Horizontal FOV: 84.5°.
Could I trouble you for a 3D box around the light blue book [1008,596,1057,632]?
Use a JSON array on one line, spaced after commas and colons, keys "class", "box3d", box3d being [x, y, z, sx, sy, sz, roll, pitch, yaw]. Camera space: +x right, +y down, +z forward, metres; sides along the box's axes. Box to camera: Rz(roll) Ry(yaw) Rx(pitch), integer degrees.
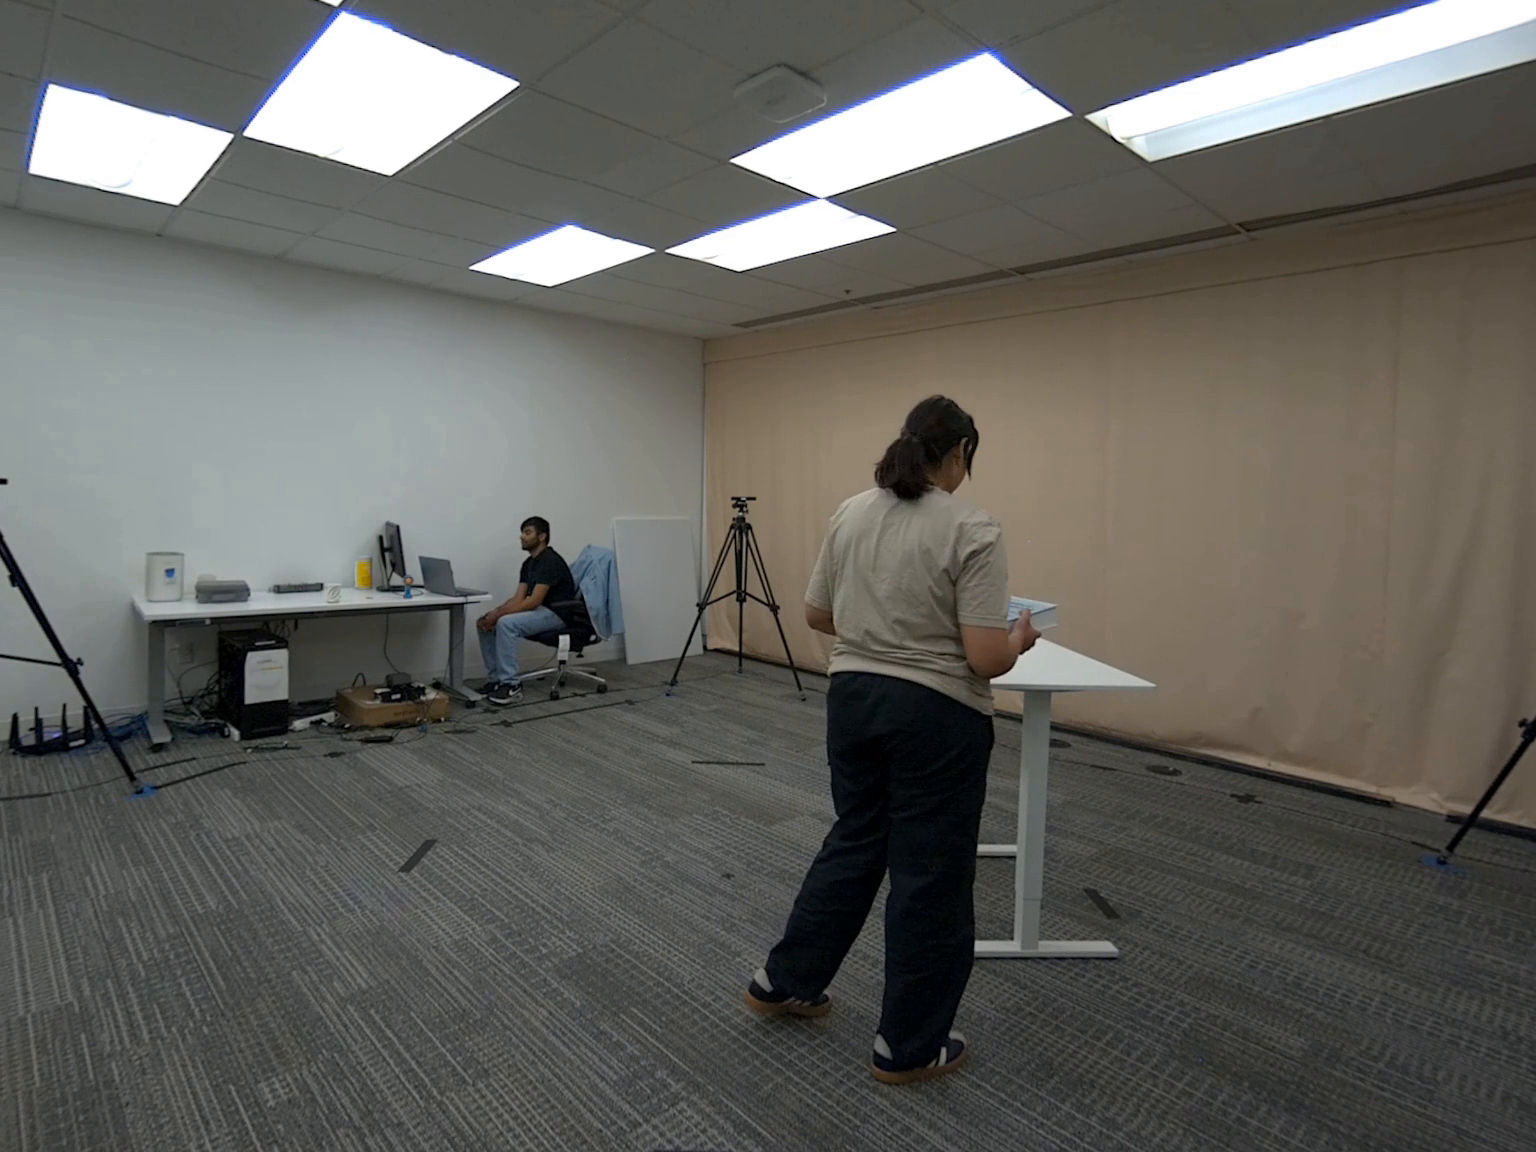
[{"class": "light blue book", "box3d": [0.565, 0.124, 2.184, 0.259, 0.058, 0.194, -11, 10, -11]}]
